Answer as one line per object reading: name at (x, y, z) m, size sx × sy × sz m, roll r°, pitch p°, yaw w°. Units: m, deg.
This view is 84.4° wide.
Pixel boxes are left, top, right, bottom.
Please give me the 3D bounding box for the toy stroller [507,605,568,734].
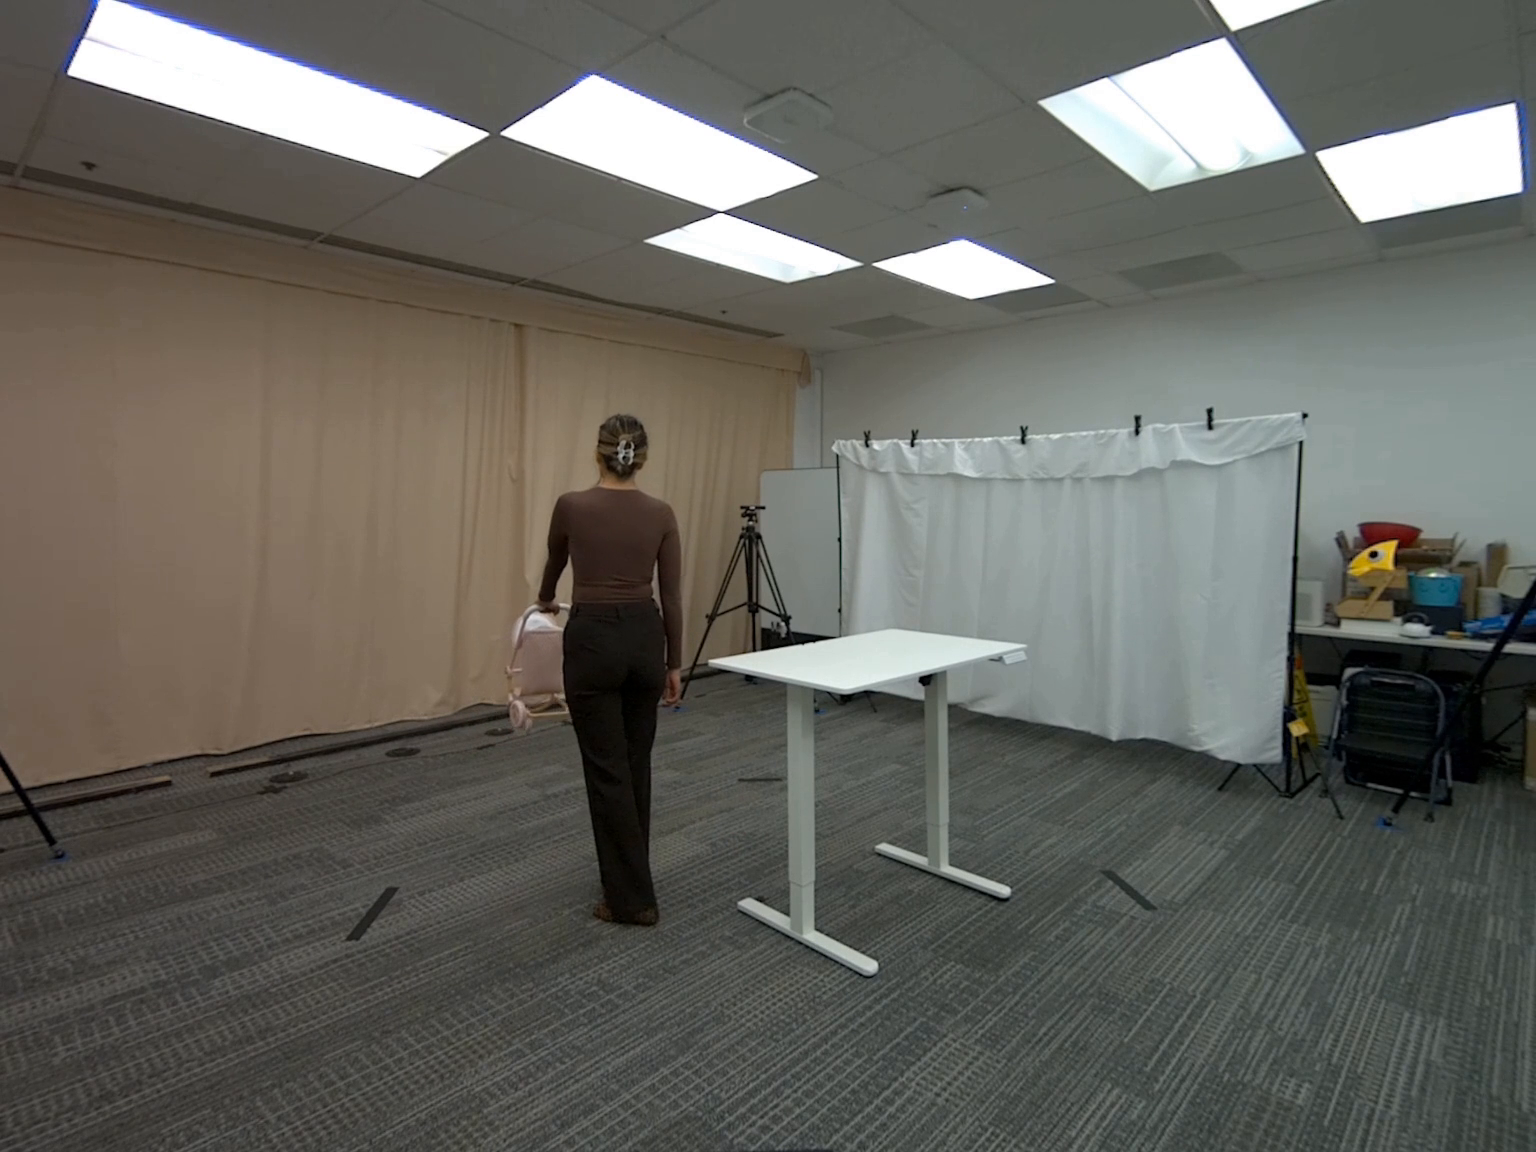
toy stroller at (-0.938, 0.382, 3.444) m, size 0.273 × 0.535 × 0.351 m, roll -1°, pitch -1°, yaw -32°
